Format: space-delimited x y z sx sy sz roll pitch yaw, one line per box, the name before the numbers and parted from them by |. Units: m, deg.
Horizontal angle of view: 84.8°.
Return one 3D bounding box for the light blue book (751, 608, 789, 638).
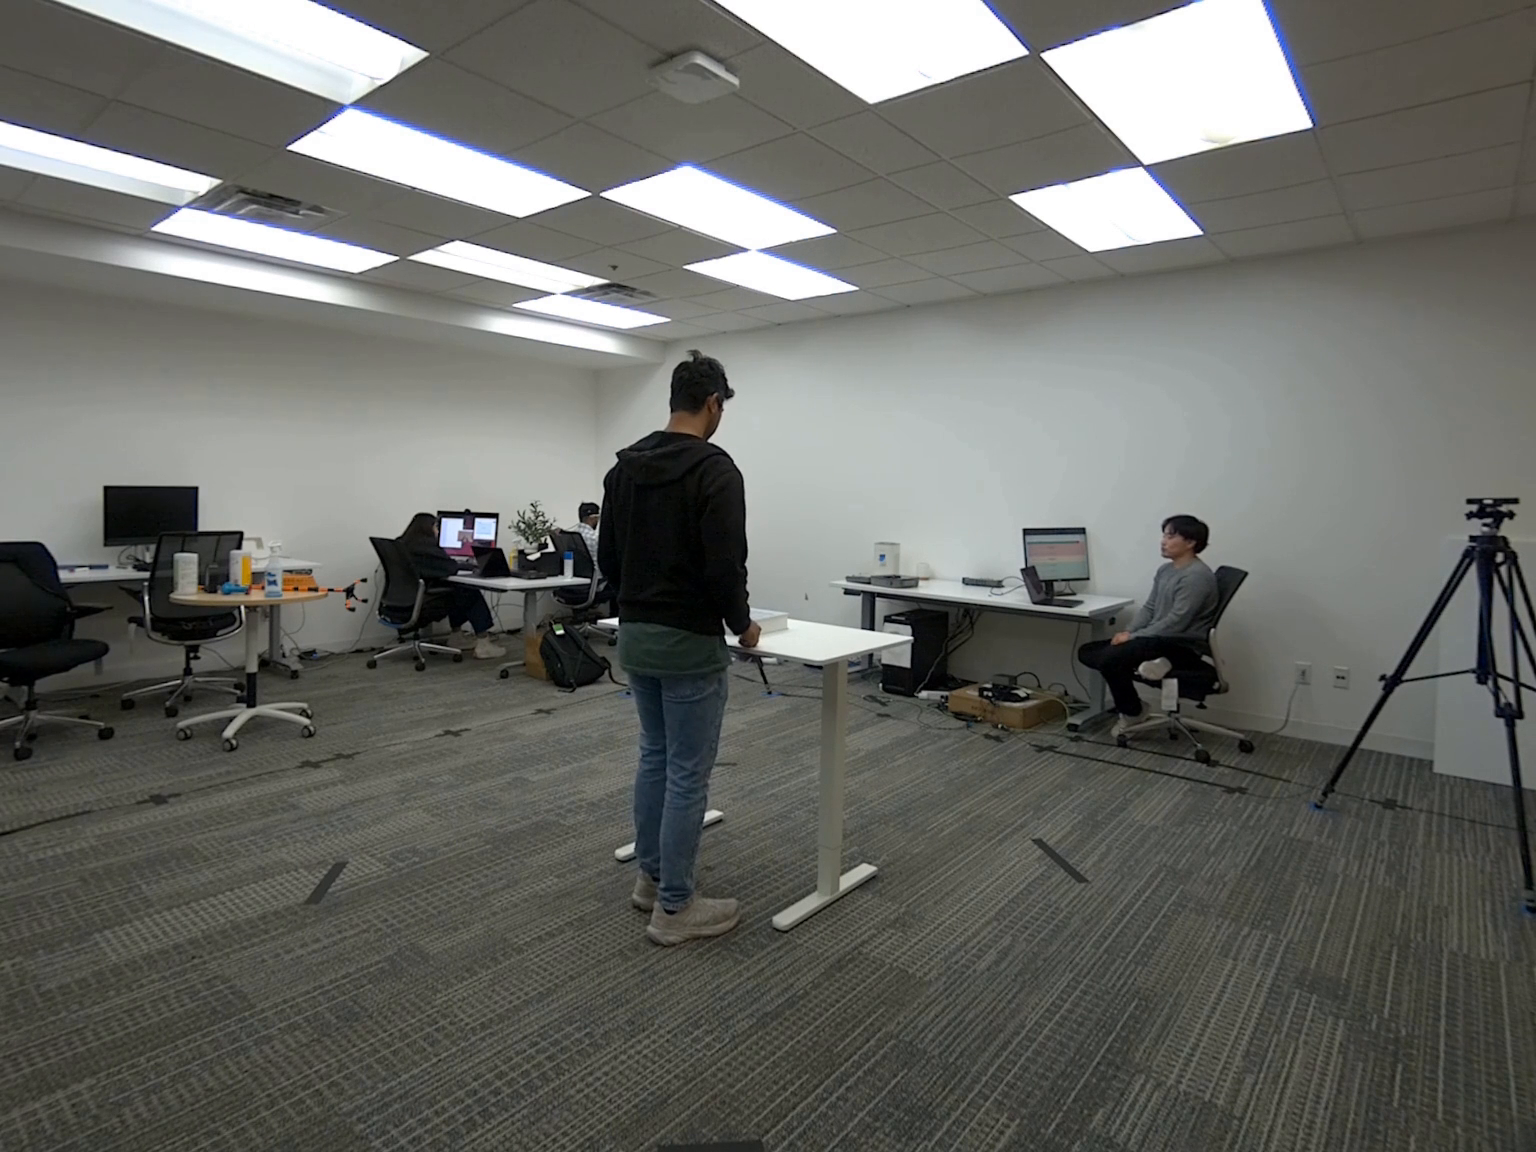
light blue book | -0.070 0.167 3.064 0.197 0.059 0.254 4 7 34
